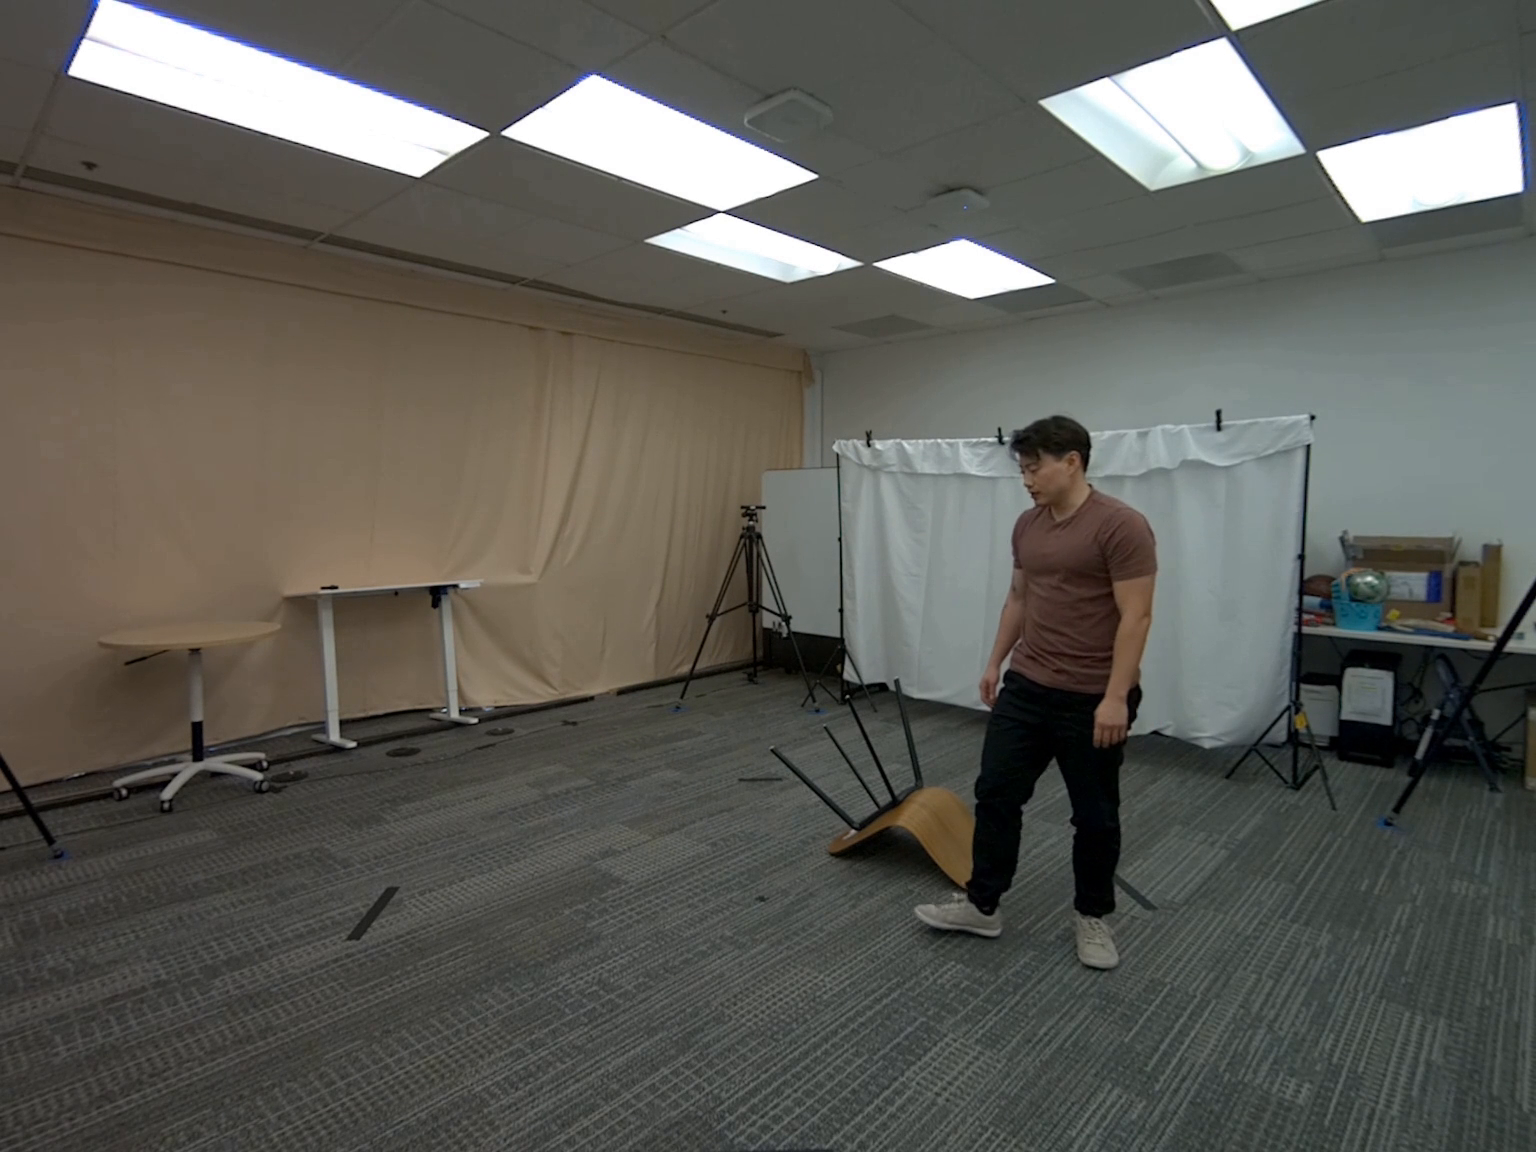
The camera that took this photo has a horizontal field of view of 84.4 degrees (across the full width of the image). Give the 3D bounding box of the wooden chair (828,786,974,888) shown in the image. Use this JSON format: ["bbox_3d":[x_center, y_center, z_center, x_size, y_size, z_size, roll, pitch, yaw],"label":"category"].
[{"bbox_3d":[0.491,0.936,3.411,0.527,0.896,0.464,-45,-22,28],"label":"wooden chair"}]
